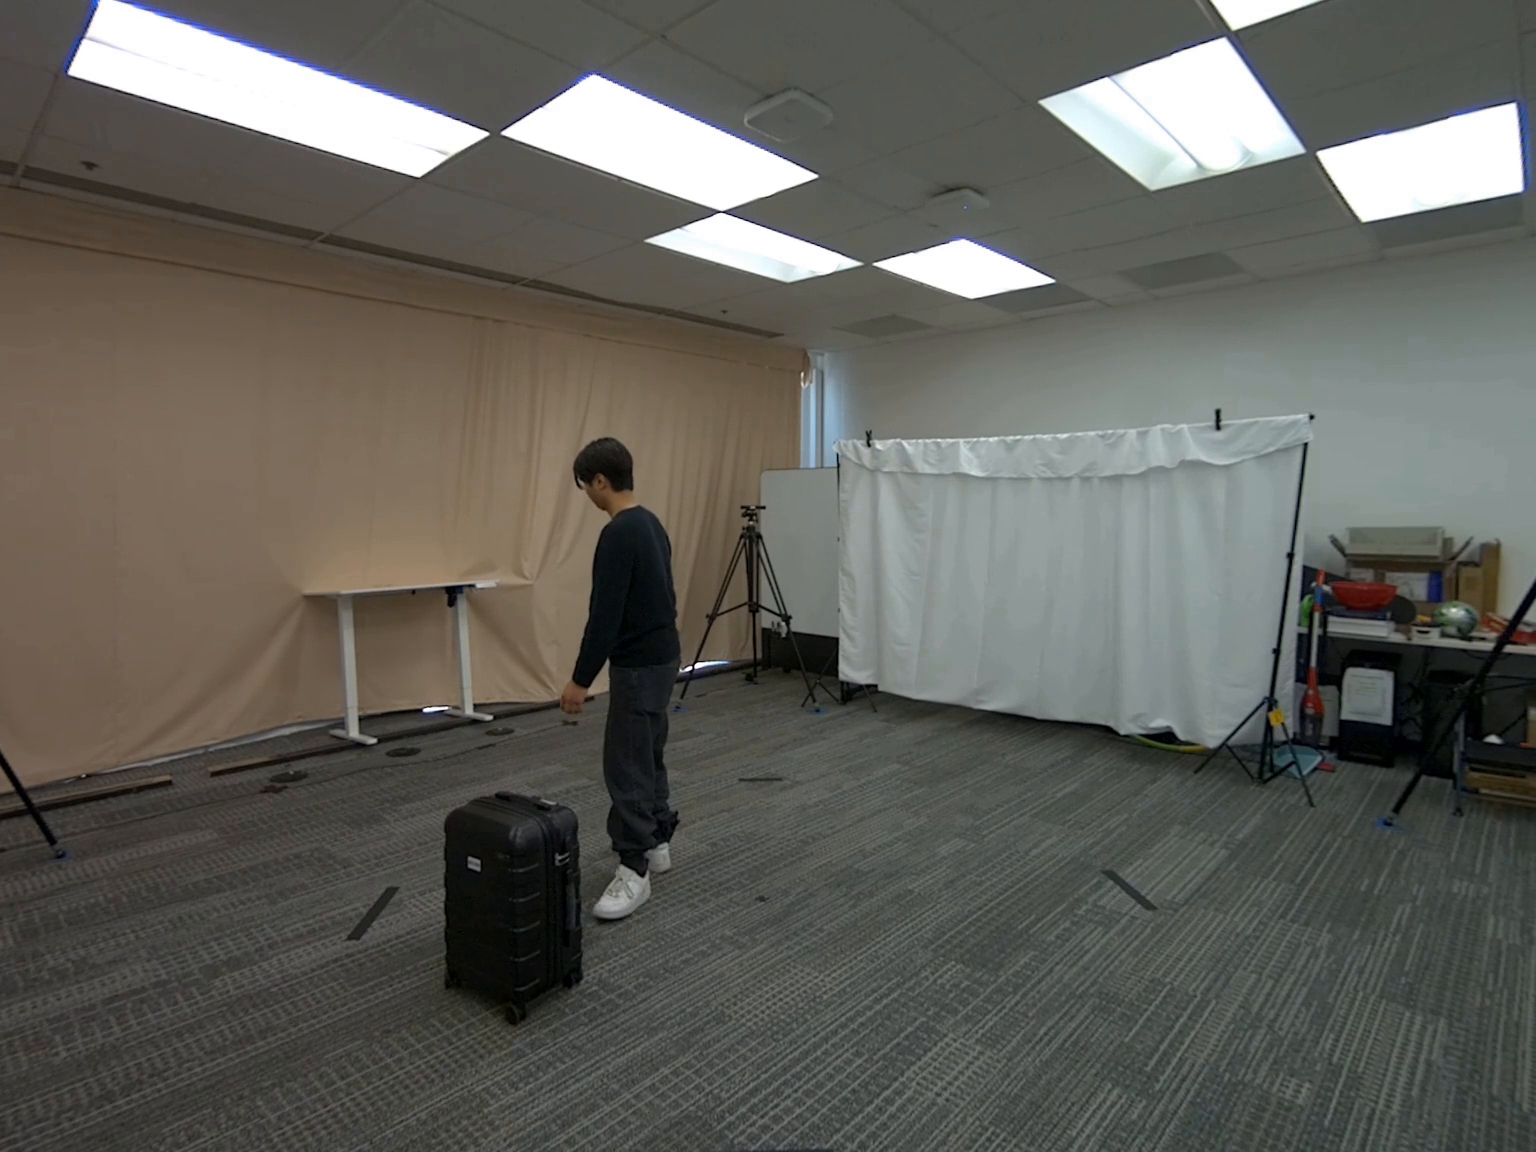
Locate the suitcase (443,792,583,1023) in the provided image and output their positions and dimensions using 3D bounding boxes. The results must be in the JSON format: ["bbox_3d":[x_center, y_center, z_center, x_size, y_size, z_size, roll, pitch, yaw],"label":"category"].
[{"bbox_3d":[-0.735,0.918,2.422,0.387,0.548,0.241,3,5,35],"label":"suitcase"}]
